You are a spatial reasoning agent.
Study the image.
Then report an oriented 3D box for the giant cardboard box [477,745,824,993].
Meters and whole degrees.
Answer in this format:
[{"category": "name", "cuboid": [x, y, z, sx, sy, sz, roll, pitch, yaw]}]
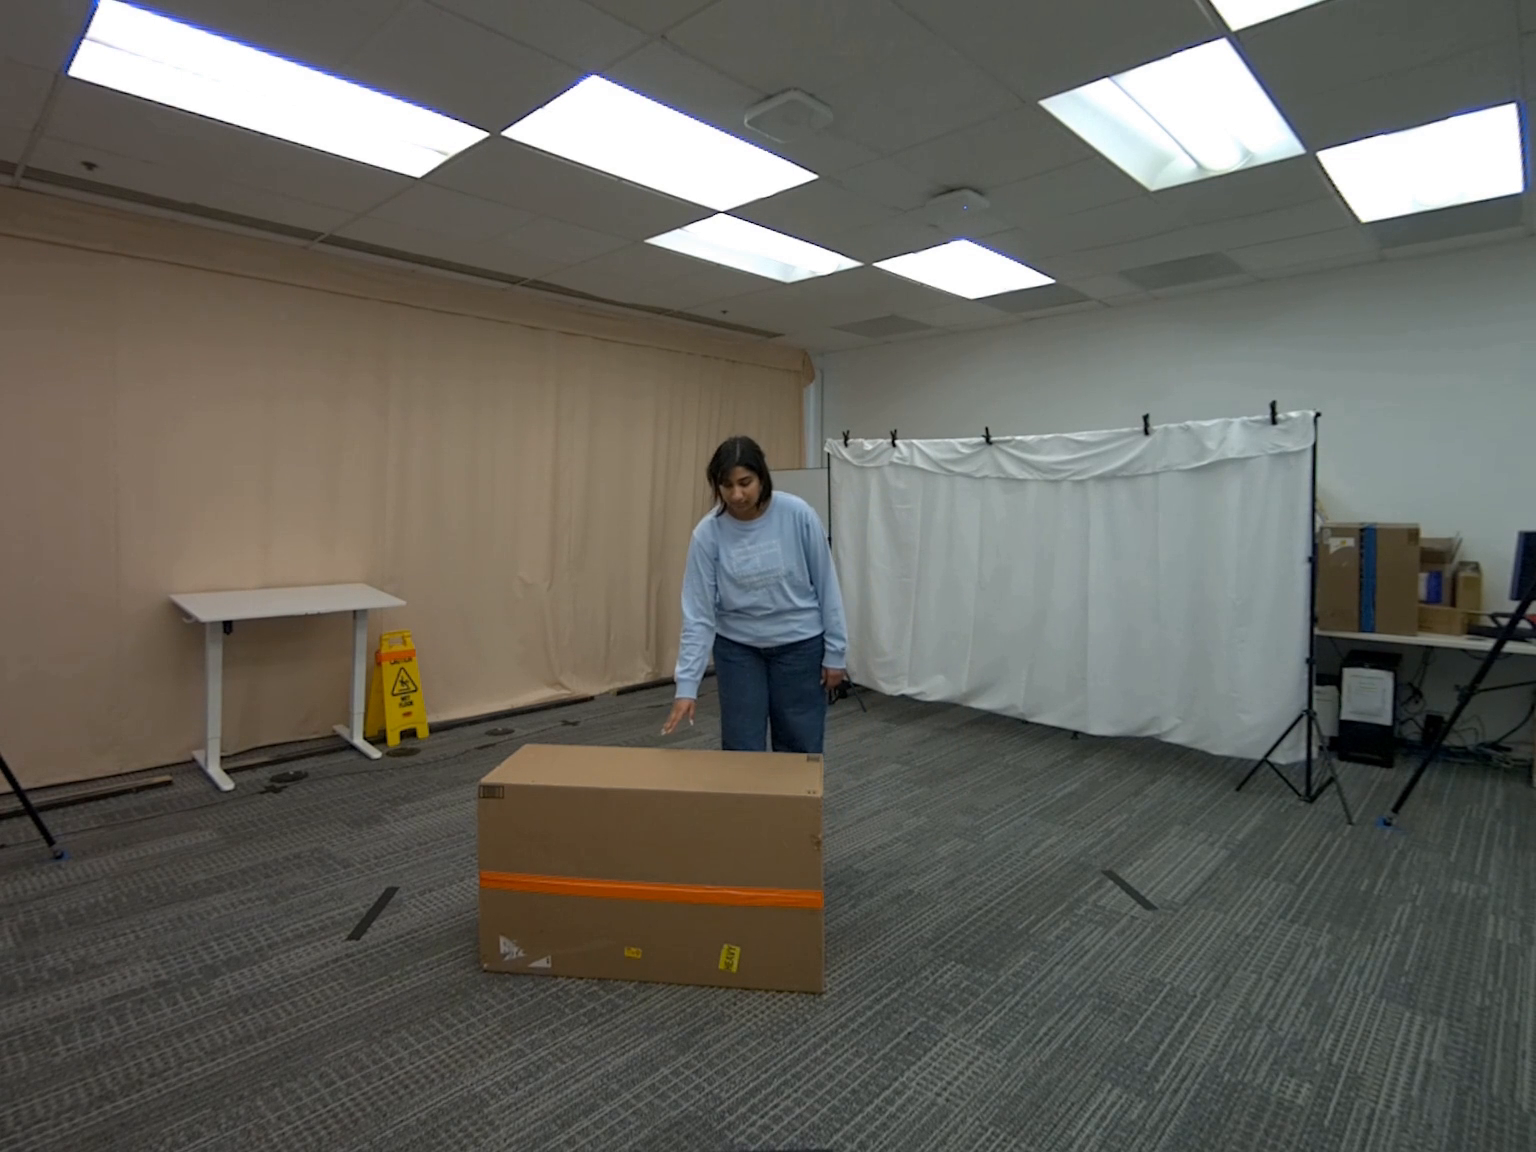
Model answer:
[{"category": "giant cardboard box", "cuboid": [-0.346, 0.882, 2.646, 1.034, 0.576, 0.424, 1, 4, 7]}]
